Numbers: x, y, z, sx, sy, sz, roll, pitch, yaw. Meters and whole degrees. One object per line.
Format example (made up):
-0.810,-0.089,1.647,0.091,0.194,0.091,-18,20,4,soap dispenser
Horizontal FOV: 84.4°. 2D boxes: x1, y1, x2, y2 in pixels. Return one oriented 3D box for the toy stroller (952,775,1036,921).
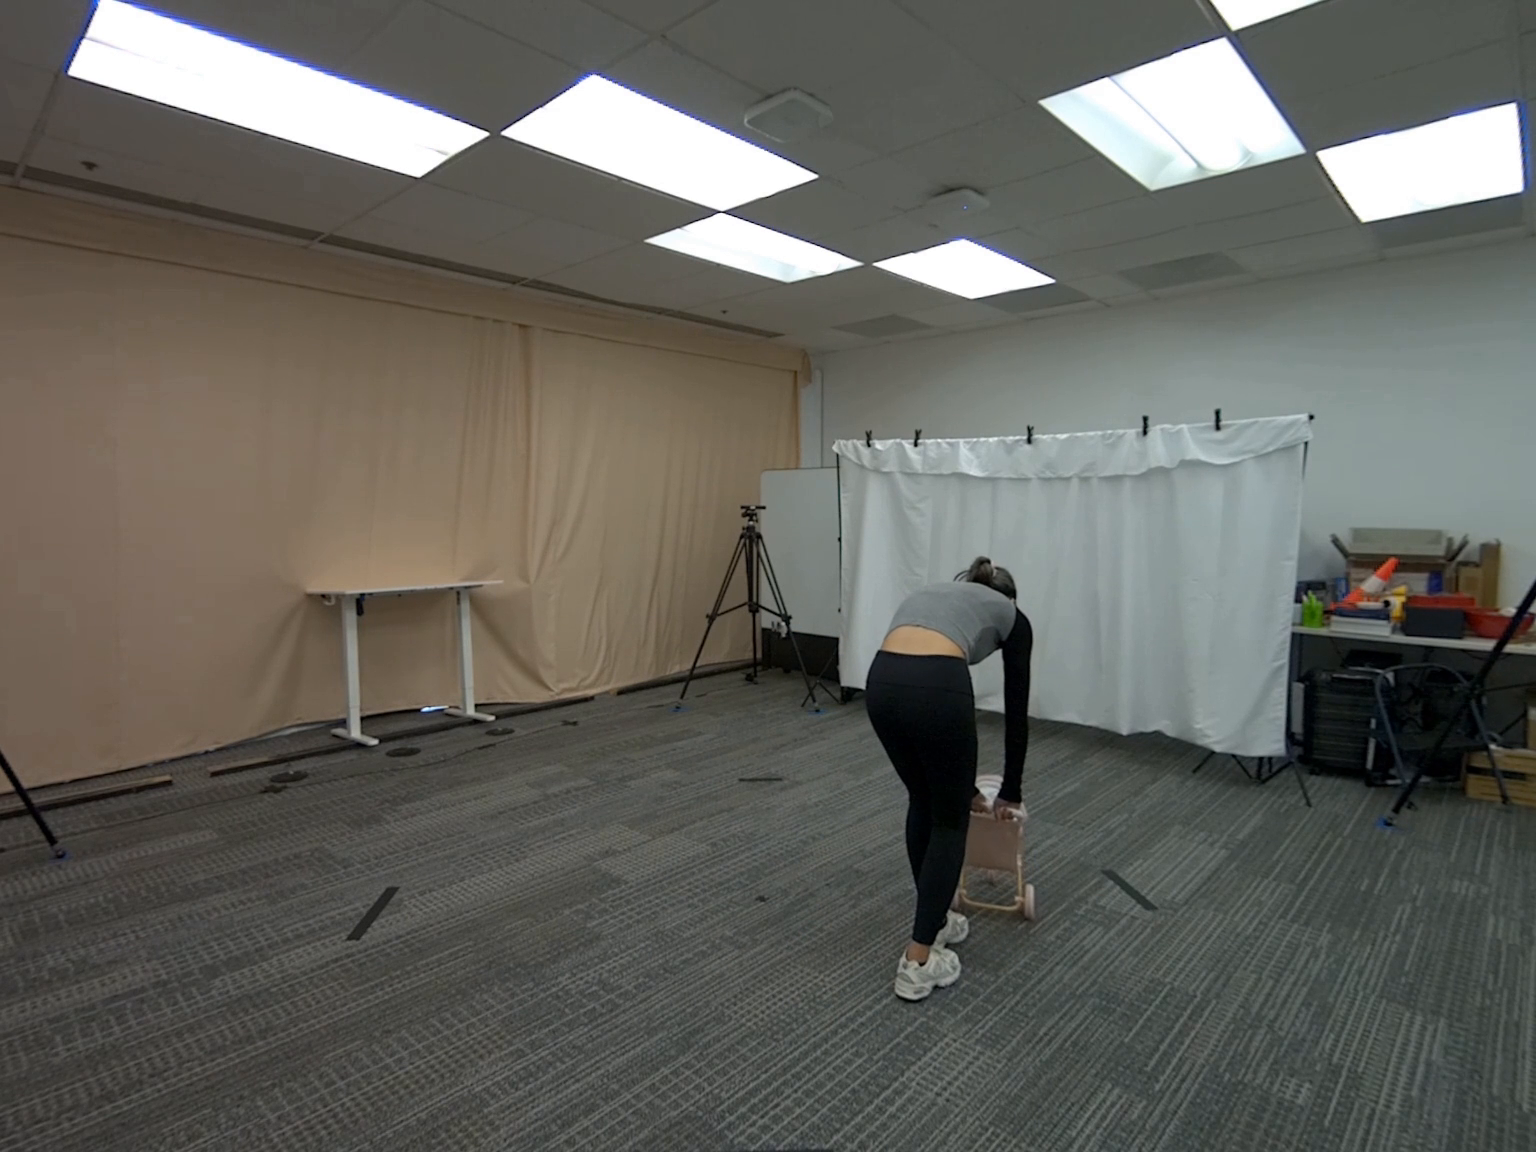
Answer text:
0.783,0.924,2.926,0.288,0.528,0.338,1,19,20,toy stroller
